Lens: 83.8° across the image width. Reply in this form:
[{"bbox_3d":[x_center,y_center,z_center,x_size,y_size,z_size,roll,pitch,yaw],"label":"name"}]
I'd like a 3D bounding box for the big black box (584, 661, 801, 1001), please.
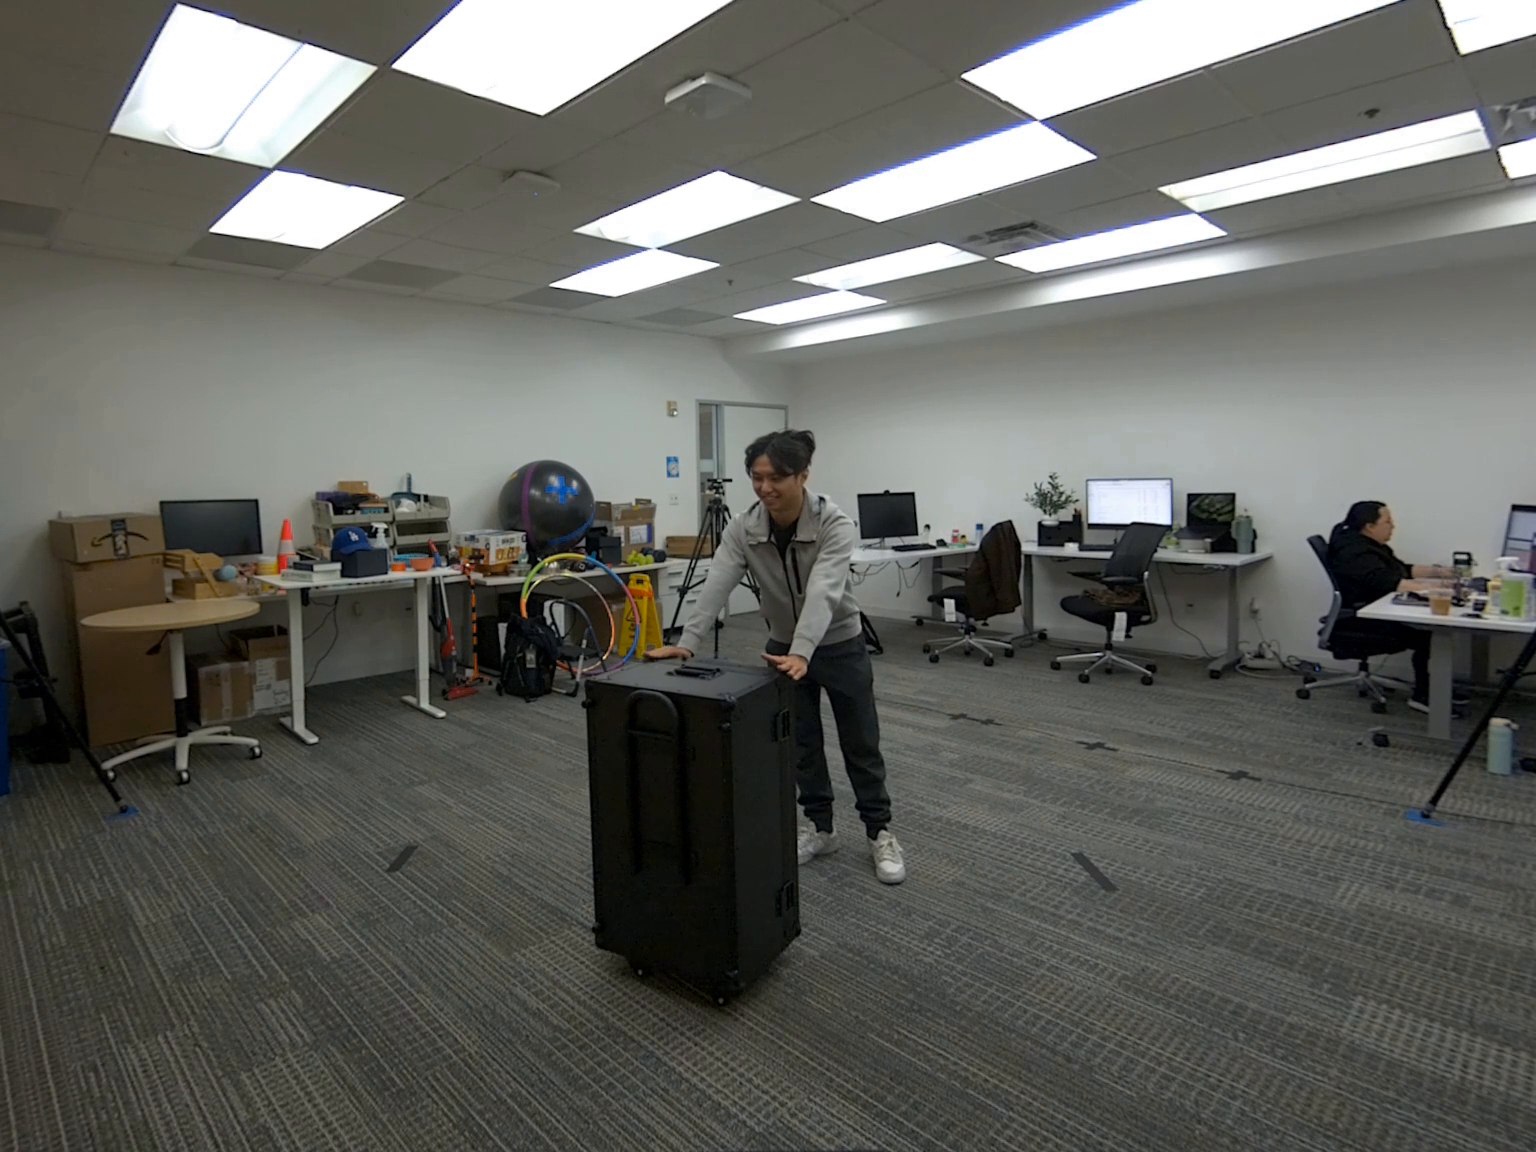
[{"bbox_3d":[-0.205,0.701,2.431,0.535,0.858,0.387,1,6,31],"label":"big black box"}]
